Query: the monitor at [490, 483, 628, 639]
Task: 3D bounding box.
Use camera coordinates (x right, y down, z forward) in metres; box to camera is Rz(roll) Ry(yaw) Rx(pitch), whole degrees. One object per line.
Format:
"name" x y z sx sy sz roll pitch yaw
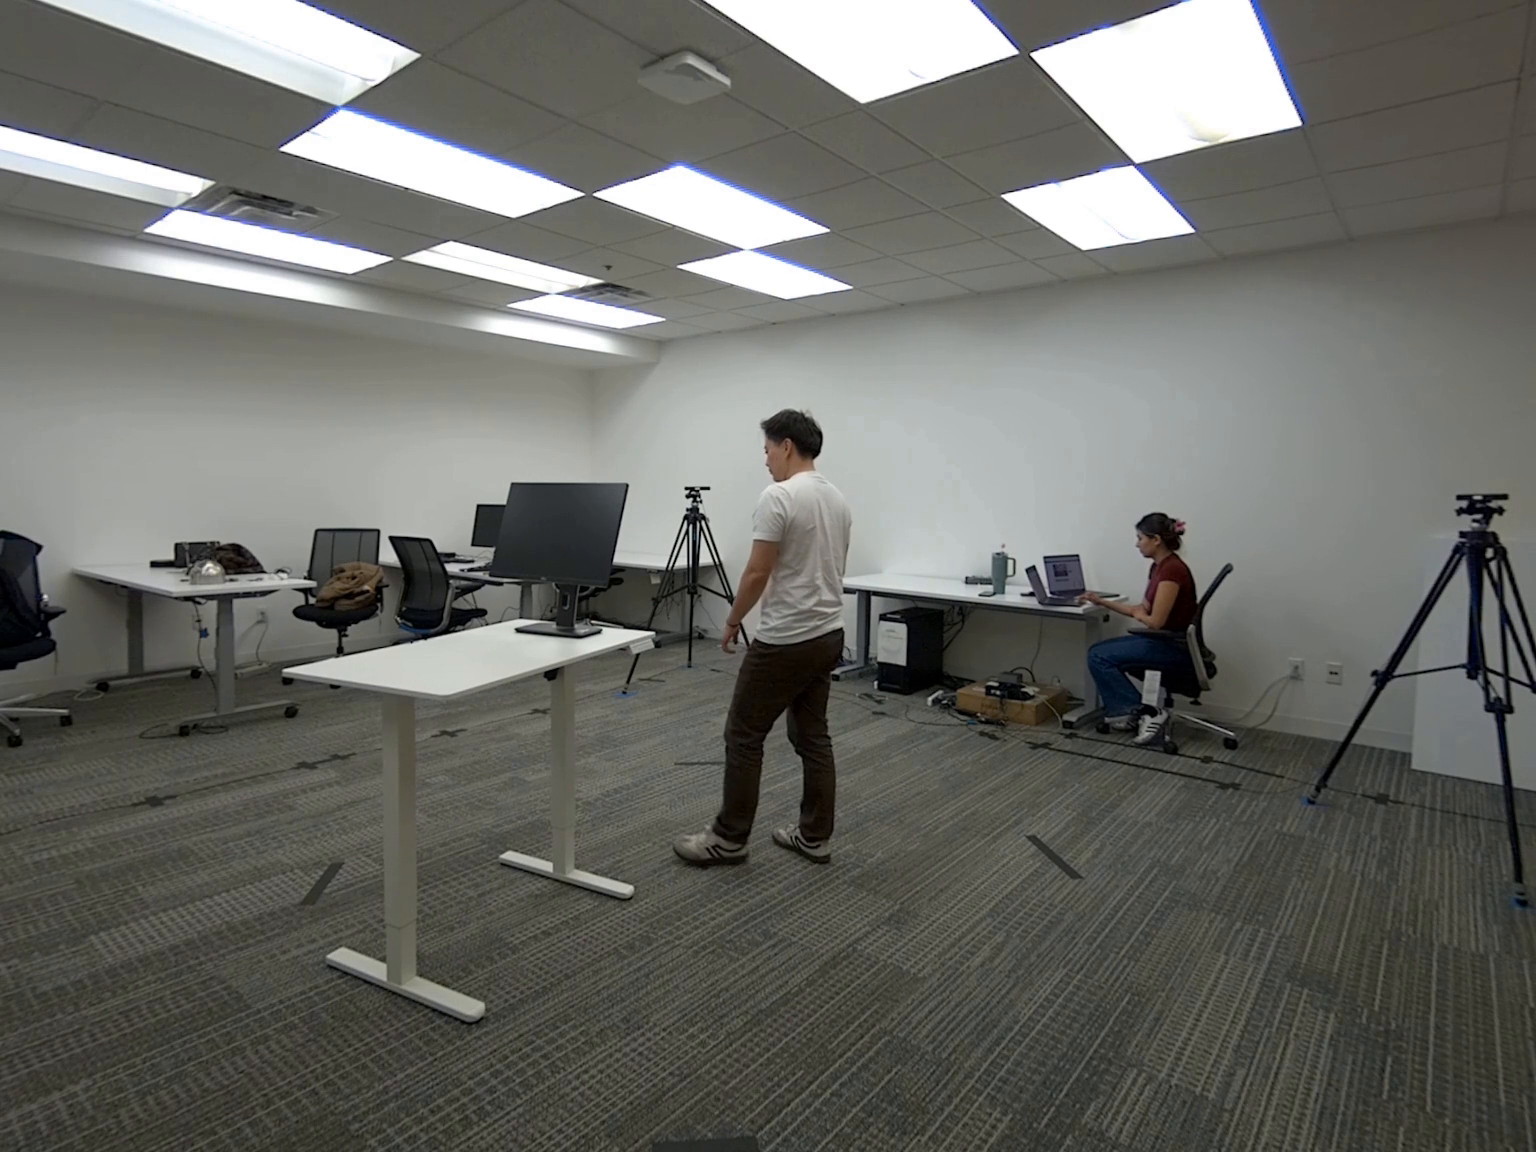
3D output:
"monitor" -0.722 -0.062 2.936 0.554 0.522 0.182 3 1 28
